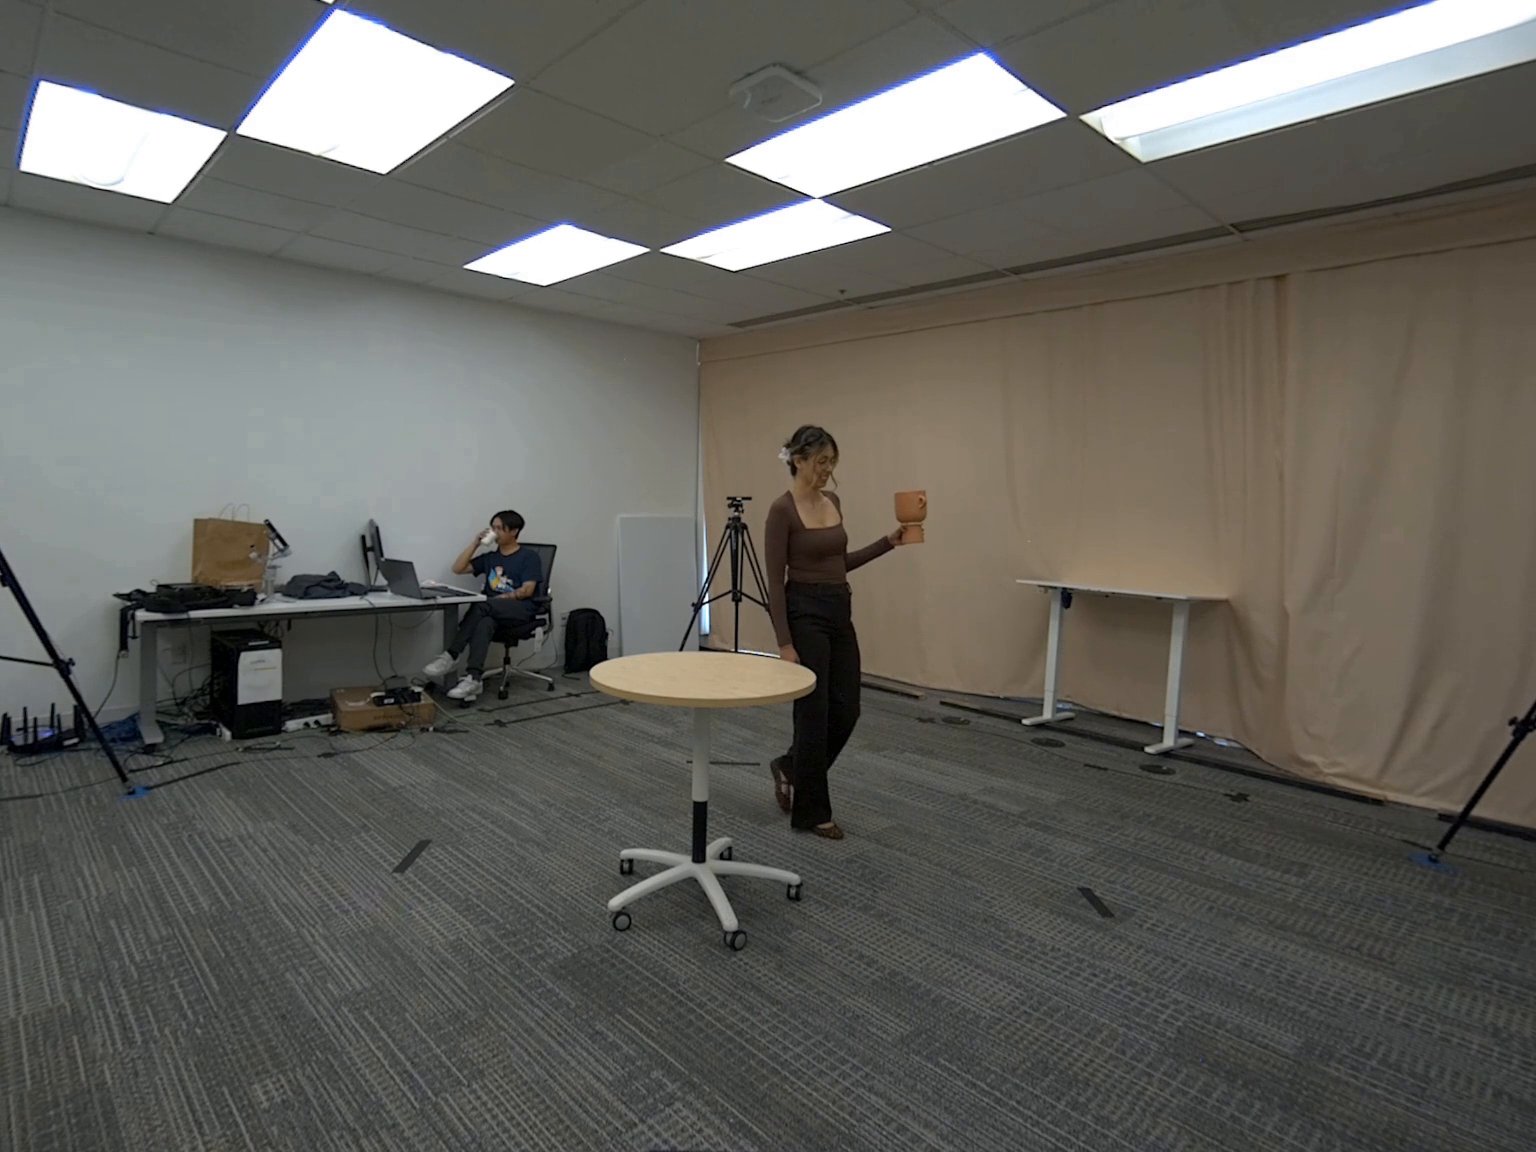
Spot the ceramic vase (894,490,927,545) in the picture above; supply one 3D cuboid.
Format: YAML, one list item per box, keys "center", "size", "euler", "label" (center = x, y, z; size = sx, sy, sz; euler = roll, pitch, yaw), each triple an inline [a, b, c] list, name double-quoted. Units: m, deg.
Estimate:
- center: [0.593, -0.256, 3.603]
  size: [0.135, 0.220, 0.158]
  euler: [-4, 1, 9]
  label: "ceramic vase"
